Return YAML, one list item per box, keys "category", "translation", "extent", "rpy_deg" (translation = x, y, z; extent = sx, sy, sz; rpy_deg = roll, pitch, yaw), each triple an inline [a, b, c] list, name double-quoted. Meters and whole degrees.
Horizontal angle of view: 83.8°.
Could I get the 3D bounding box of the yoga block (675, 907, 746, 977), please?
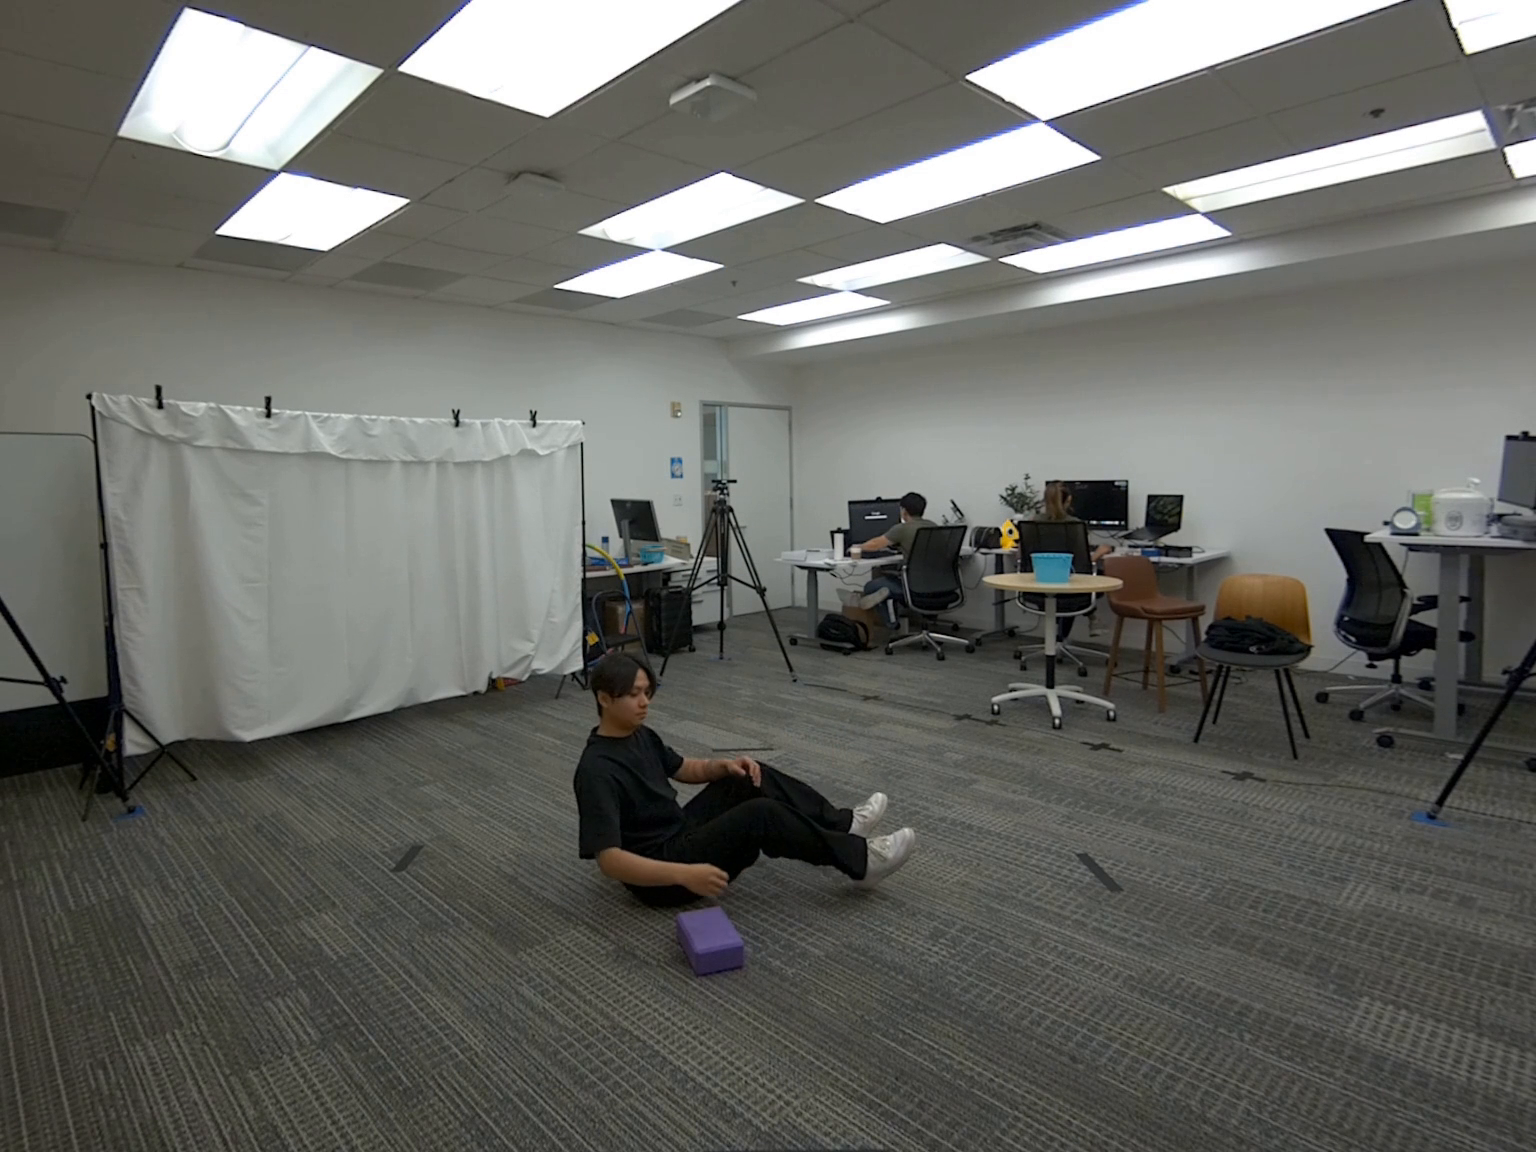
- category: "yoga block"
  translation: [-0.174, 1.080, 2.532]
  extent: [0.146, 0.076, 0.234]
  rpy_deg: [-2, 6, -20]
